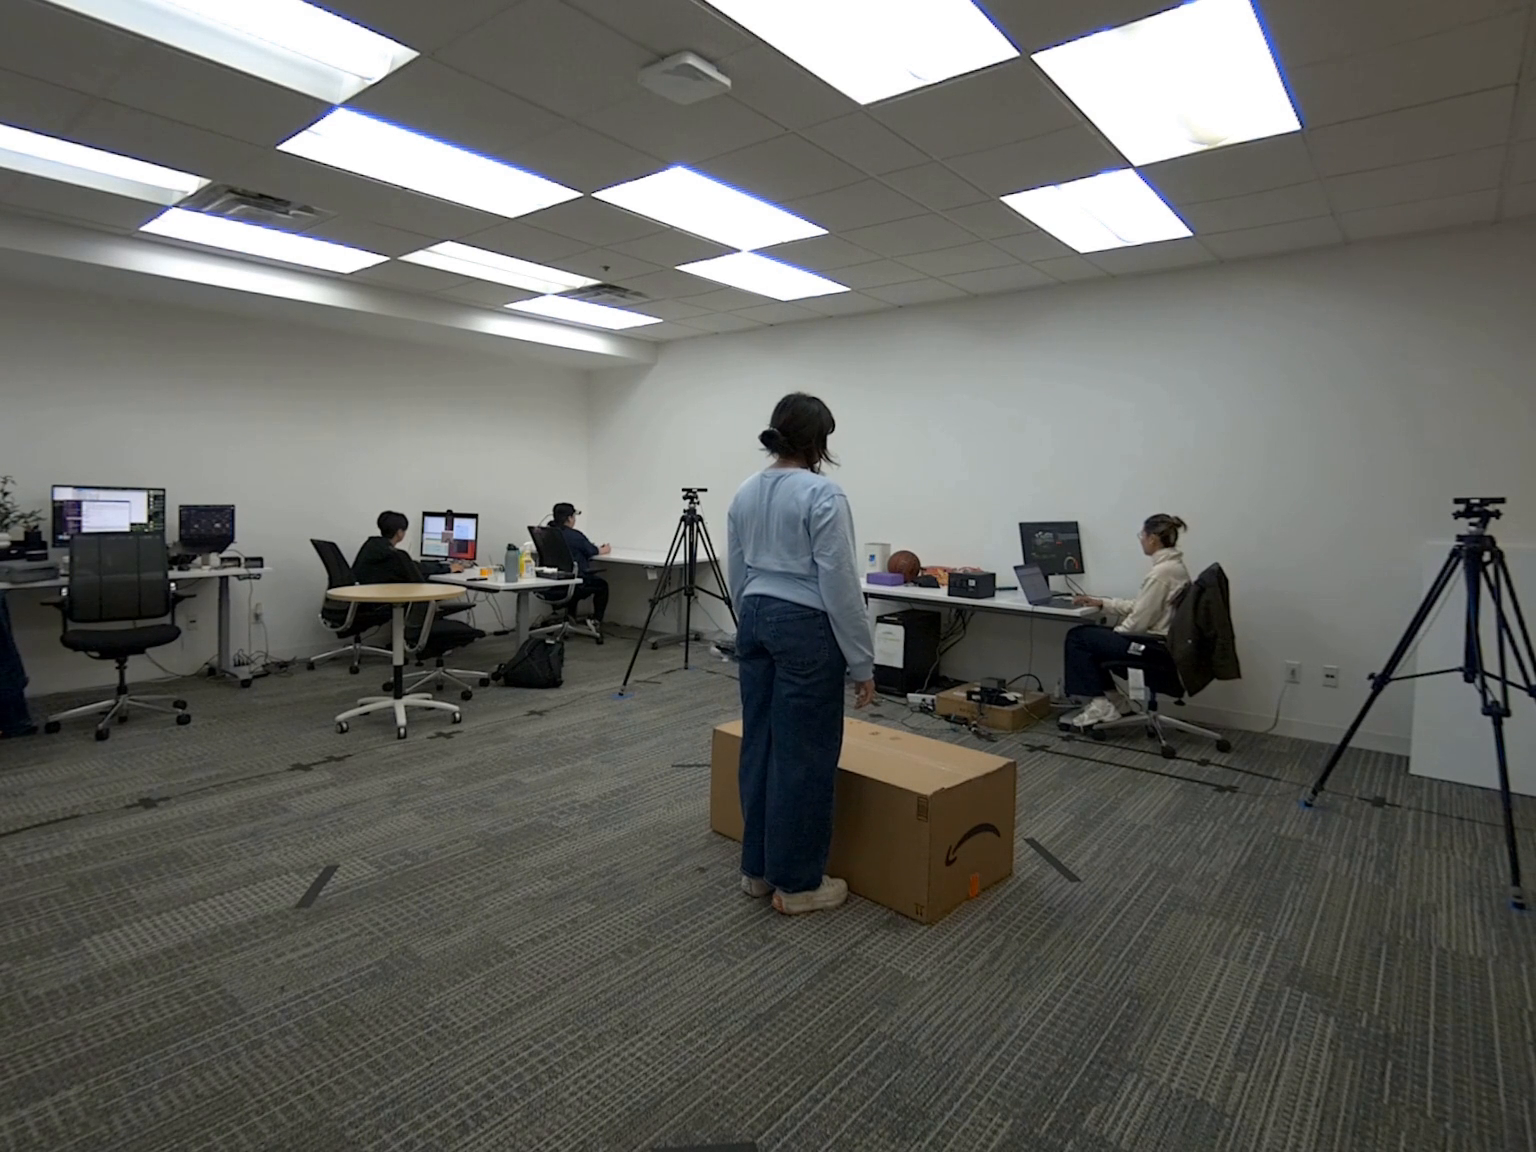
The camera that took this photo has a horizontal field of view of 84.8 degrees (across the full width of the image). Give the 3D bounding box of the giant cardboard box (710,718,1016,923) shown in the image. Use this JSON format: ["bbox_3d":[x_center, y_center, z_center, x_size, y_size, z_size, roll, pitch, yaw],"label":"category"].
[{"bbox_3d":[0.331,0.849,3.289,1.061,0.425,0.560,6,7,44],"label":"giant cardboard box"}]
